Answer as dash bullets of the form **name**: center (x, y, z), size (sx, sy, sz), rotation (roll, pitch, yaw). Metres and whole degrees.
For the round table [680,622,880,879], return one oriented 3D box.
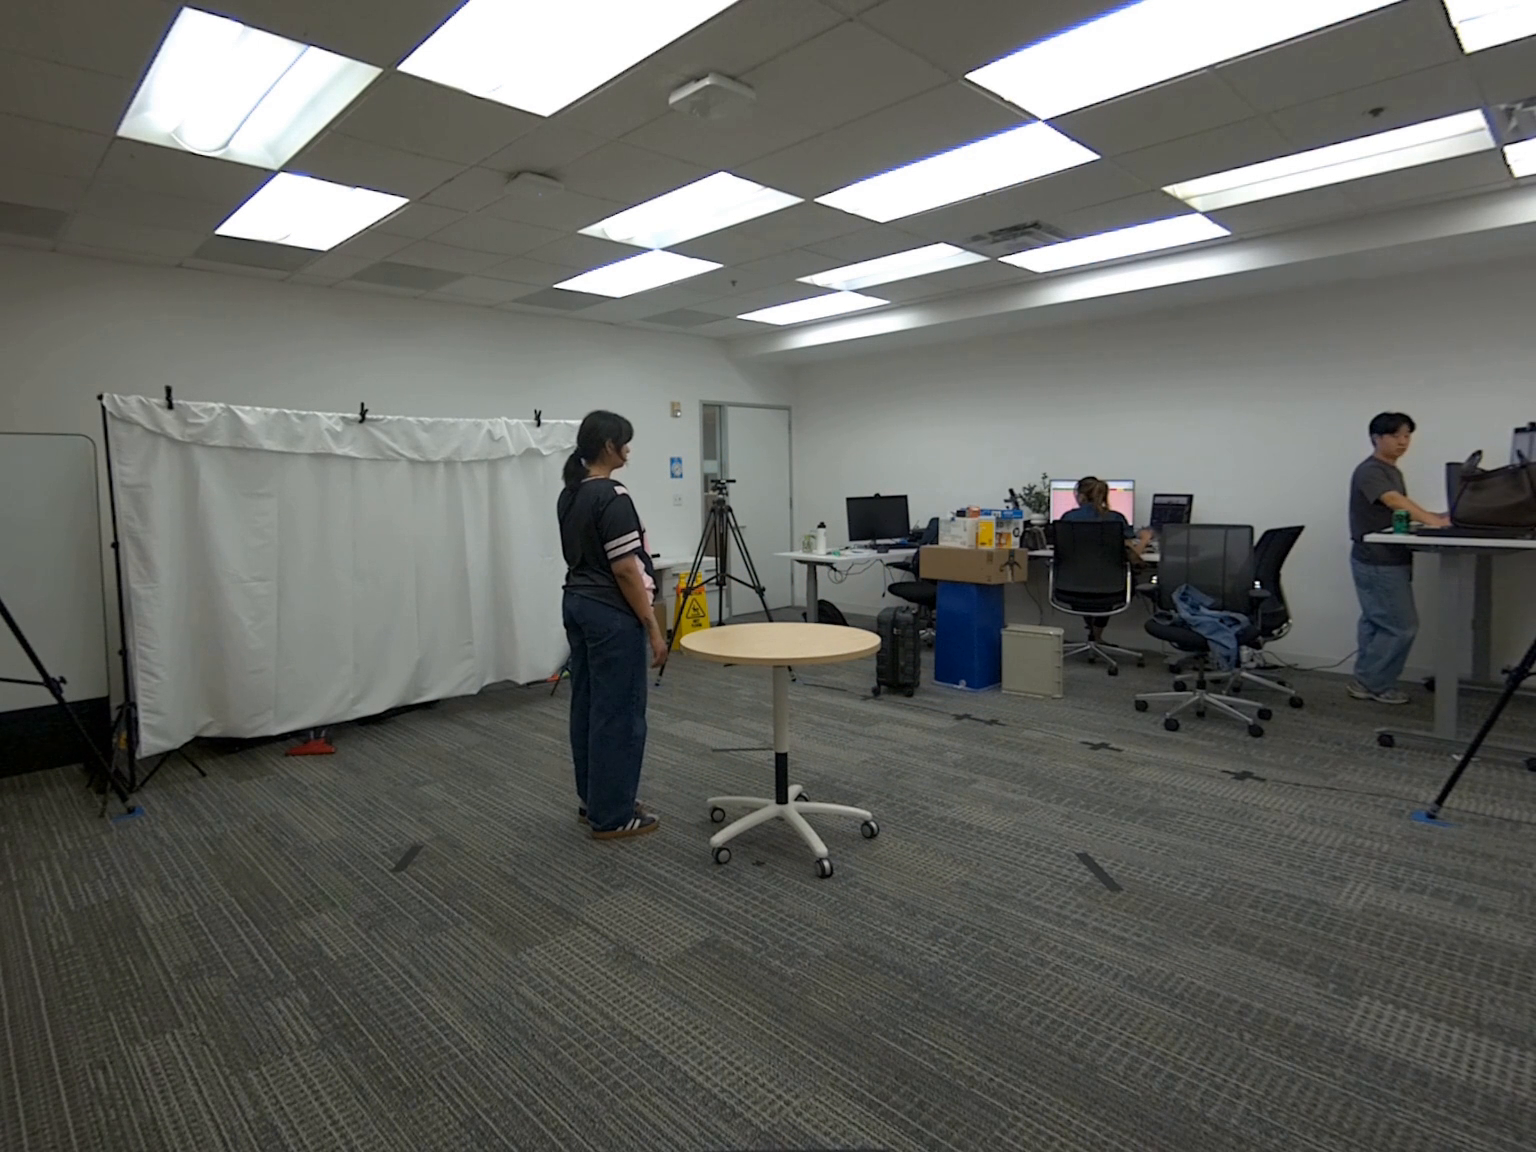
- **round table**: center (0.055, 0.634, 3.295), size (0.763, 0.791, 0.767), rotation (-1, 4, -2)
